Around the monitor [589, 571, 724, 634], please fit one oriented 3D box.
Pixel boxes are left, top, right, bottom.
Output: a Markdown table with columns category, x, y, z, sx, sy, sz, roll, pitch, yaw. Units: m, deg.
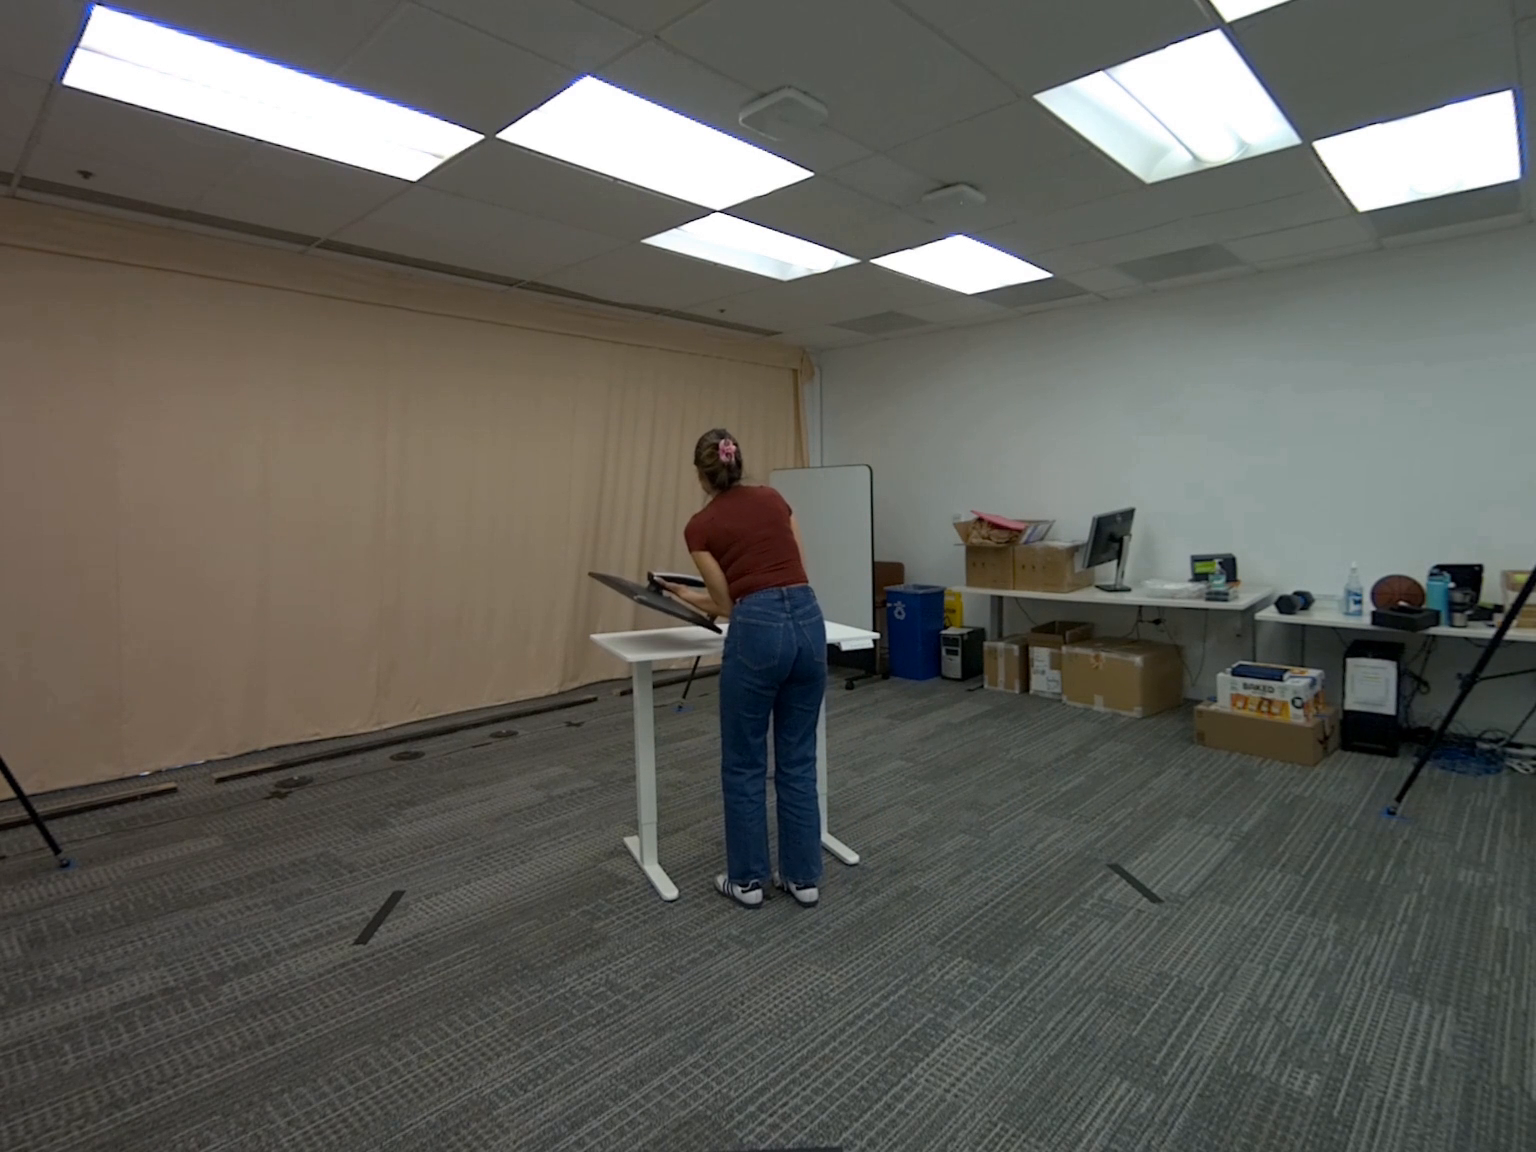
| category | x | y | z | sx | sy | sz | roll | pitch | yaw |
| --- | --- | --- | --- | --- | --- | --- | --- | --- | --- |
| monitor | -0.346 | 0.068 | 3.176 | 0.508 | 0.186 | 0.556 | 3 | 7 | -29 |
